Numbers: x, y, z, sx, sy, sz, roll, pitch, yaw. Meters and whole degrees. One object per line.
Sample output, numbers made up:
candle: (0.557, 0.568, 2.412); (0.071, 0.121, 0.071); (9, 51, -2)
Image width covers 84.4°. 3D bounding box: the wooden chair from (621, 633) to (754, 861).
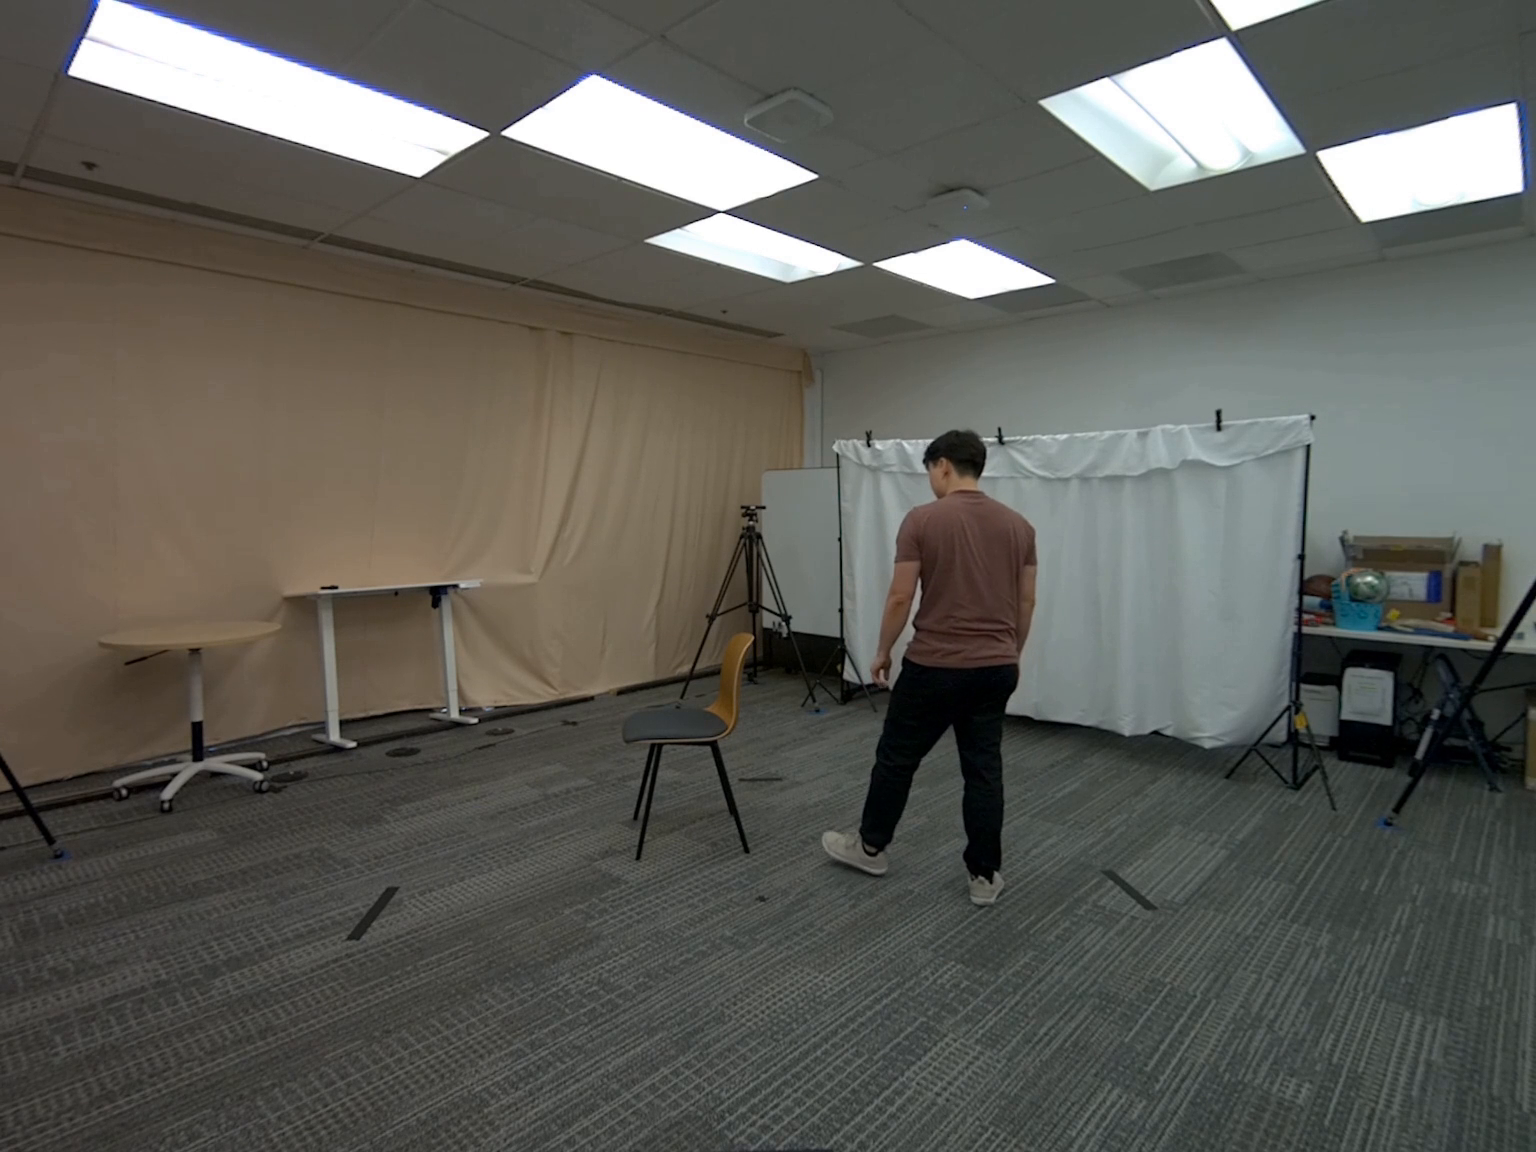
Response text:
wooden chair: (-0.349, 0.671, 3.523); (0.518, 0.876, 0.484); (3, 3, -10)
